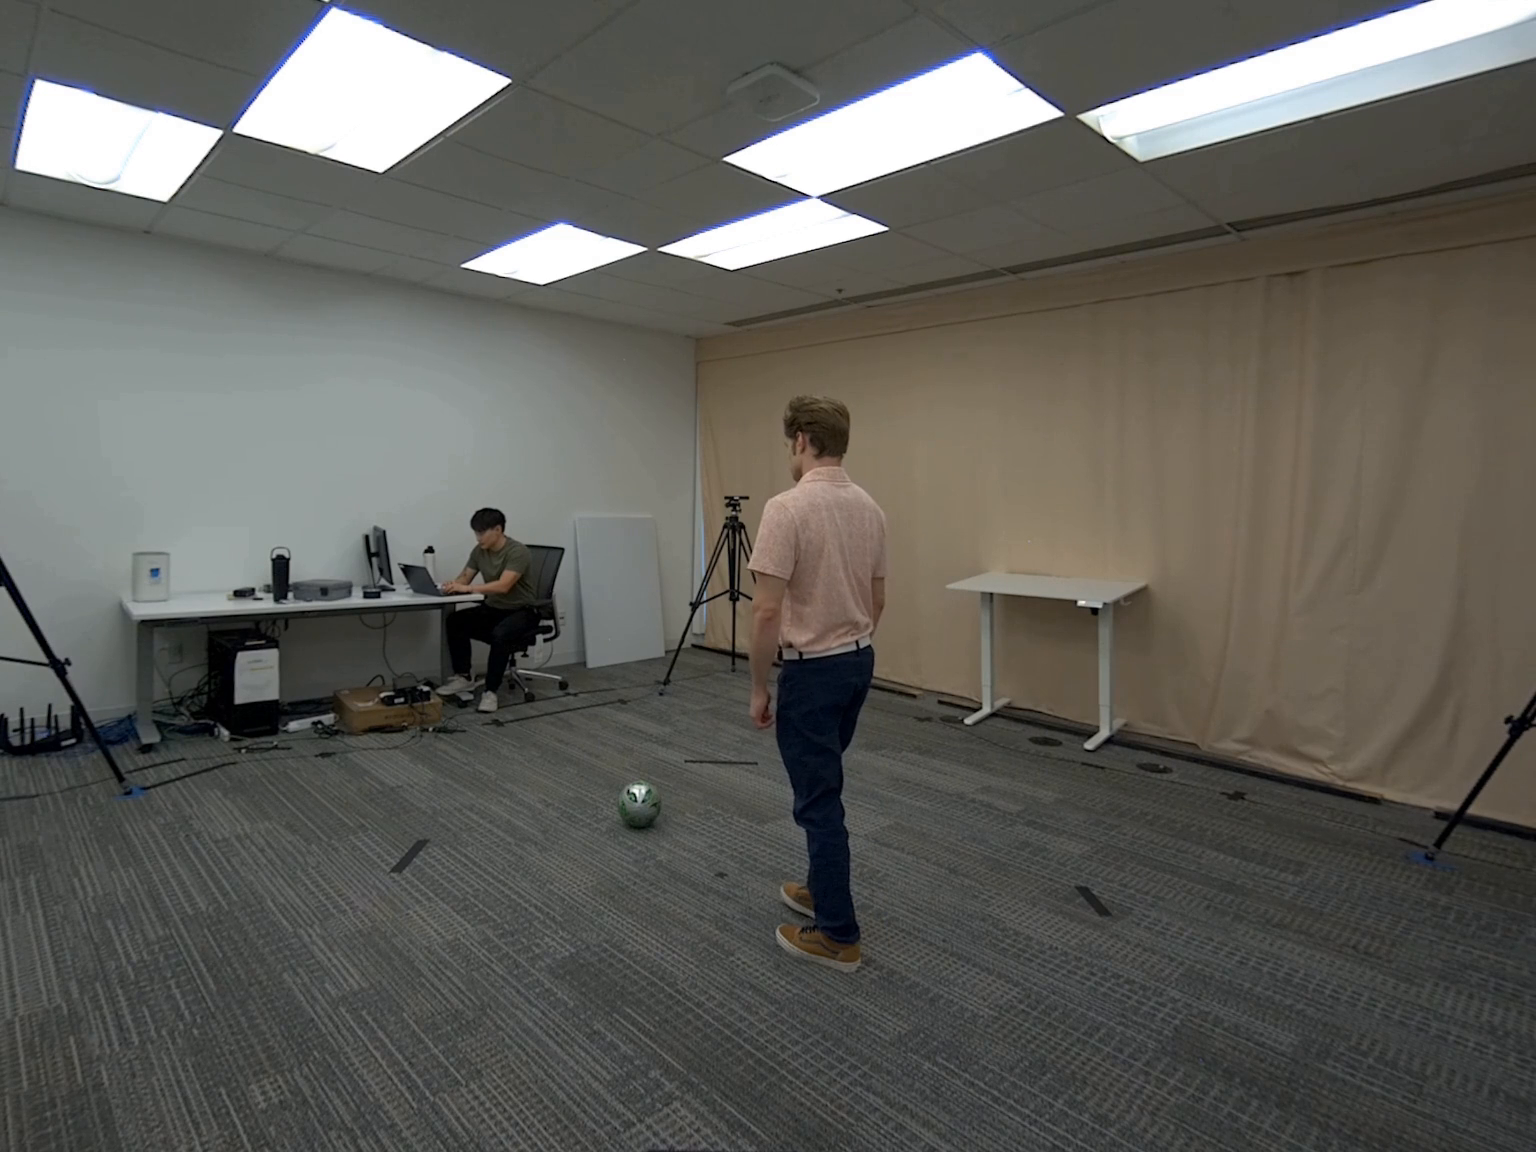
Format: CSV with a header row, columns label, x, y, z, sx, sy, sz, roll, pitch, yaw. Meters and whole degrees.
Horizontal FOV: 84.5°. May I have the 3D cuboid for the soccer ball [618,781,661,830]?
label,x,y,z,sx,sy,sz,roll,pitch,yaw
soccer ball,-0.547,0.959,3.545,0.187,0.187,0.188,1,4,-1
